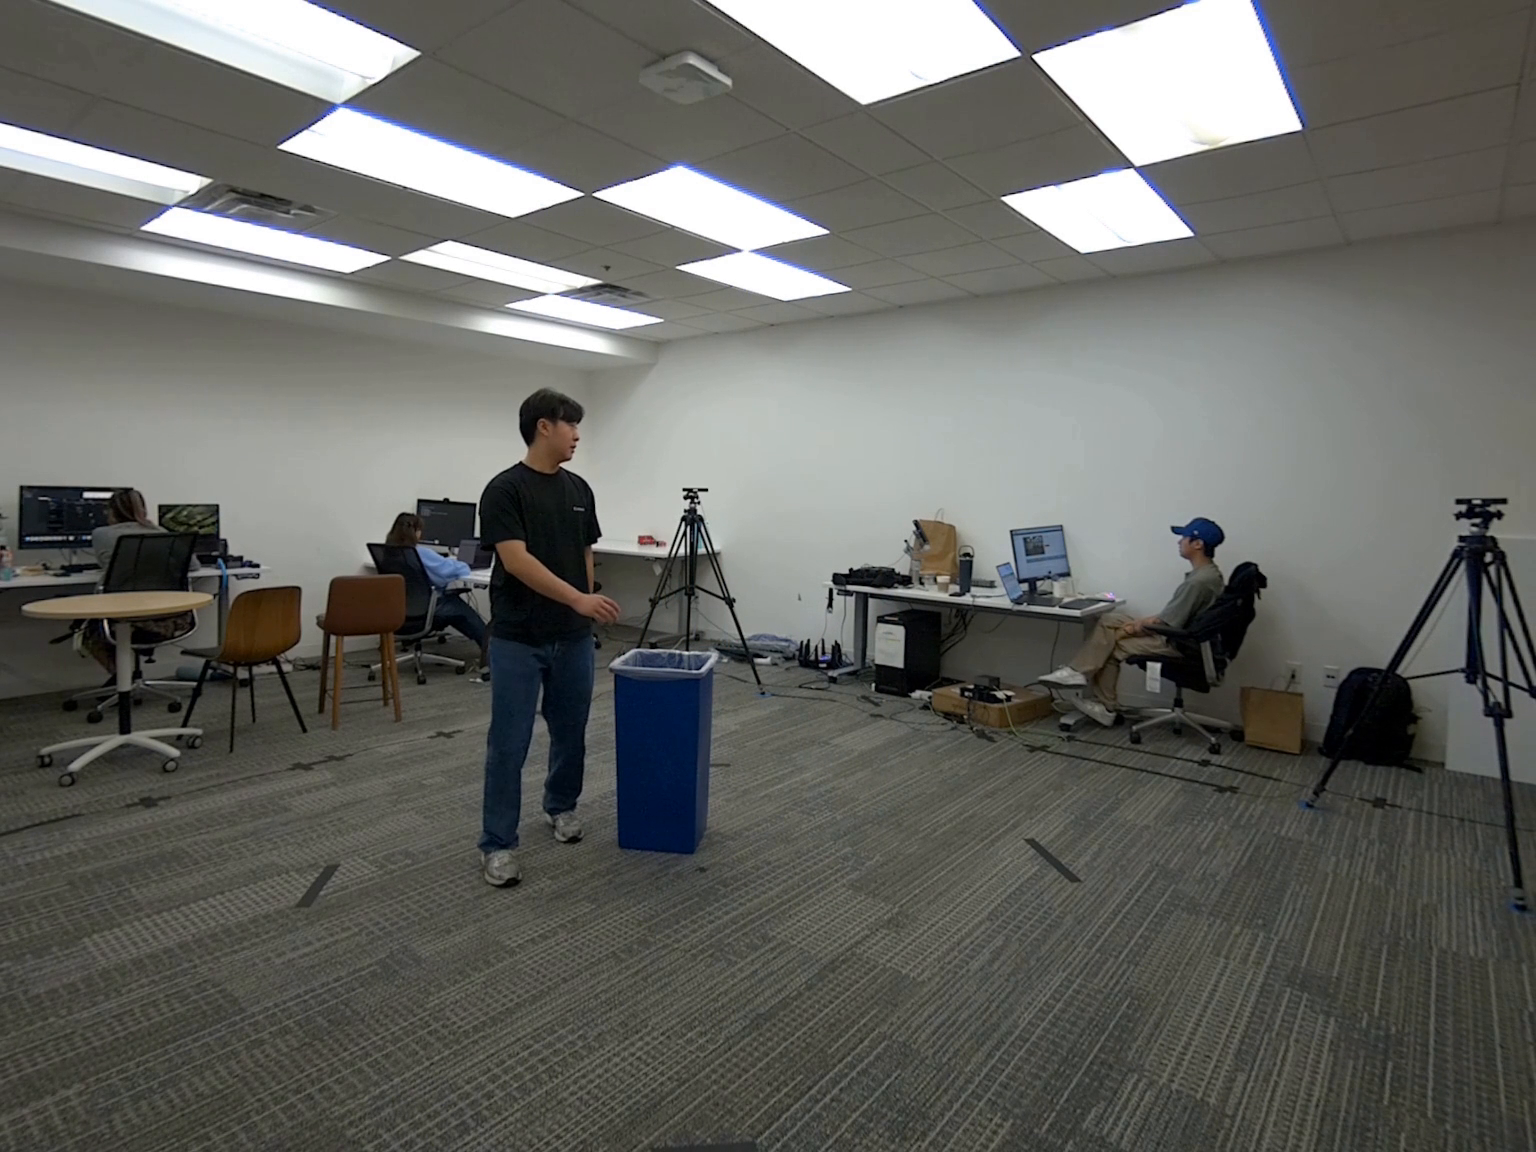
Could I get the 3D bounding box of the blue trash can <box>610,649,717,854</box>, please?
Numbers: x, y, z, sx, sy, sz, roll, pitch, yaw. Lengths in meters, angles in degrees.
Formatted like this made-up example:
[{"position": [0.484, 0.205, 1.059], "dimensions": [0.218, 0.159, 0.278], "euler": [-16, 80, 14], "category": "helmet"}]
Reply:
[{"position": [-0.426, 0.681, 3.388], "dimensions": [0.382, 0.710, 0.372], "euler": [2, 5, 7], "category": "blue trash can"}]
